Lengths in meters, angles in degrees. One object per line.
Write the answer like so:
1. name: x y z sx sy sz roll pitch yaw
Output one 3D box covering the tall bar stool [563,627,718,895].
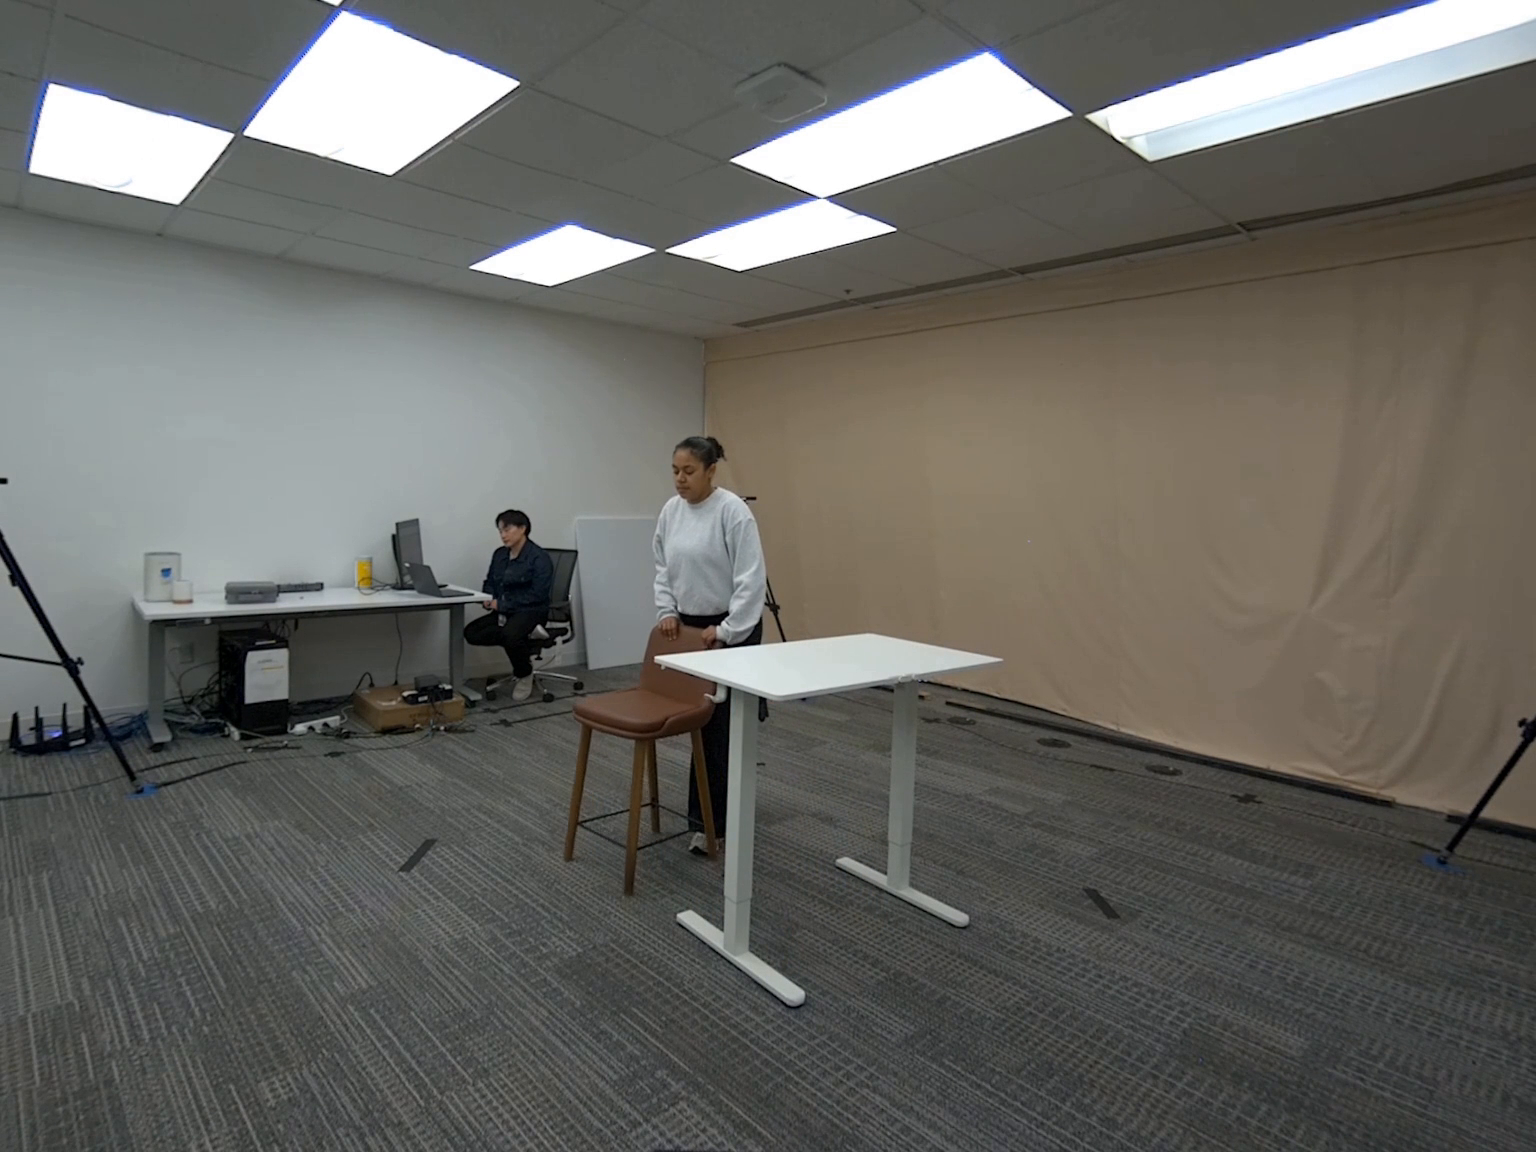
1. tall bar stool: -0.477 0.655 3.192 0.468 0.888 0.456 5 3 43
